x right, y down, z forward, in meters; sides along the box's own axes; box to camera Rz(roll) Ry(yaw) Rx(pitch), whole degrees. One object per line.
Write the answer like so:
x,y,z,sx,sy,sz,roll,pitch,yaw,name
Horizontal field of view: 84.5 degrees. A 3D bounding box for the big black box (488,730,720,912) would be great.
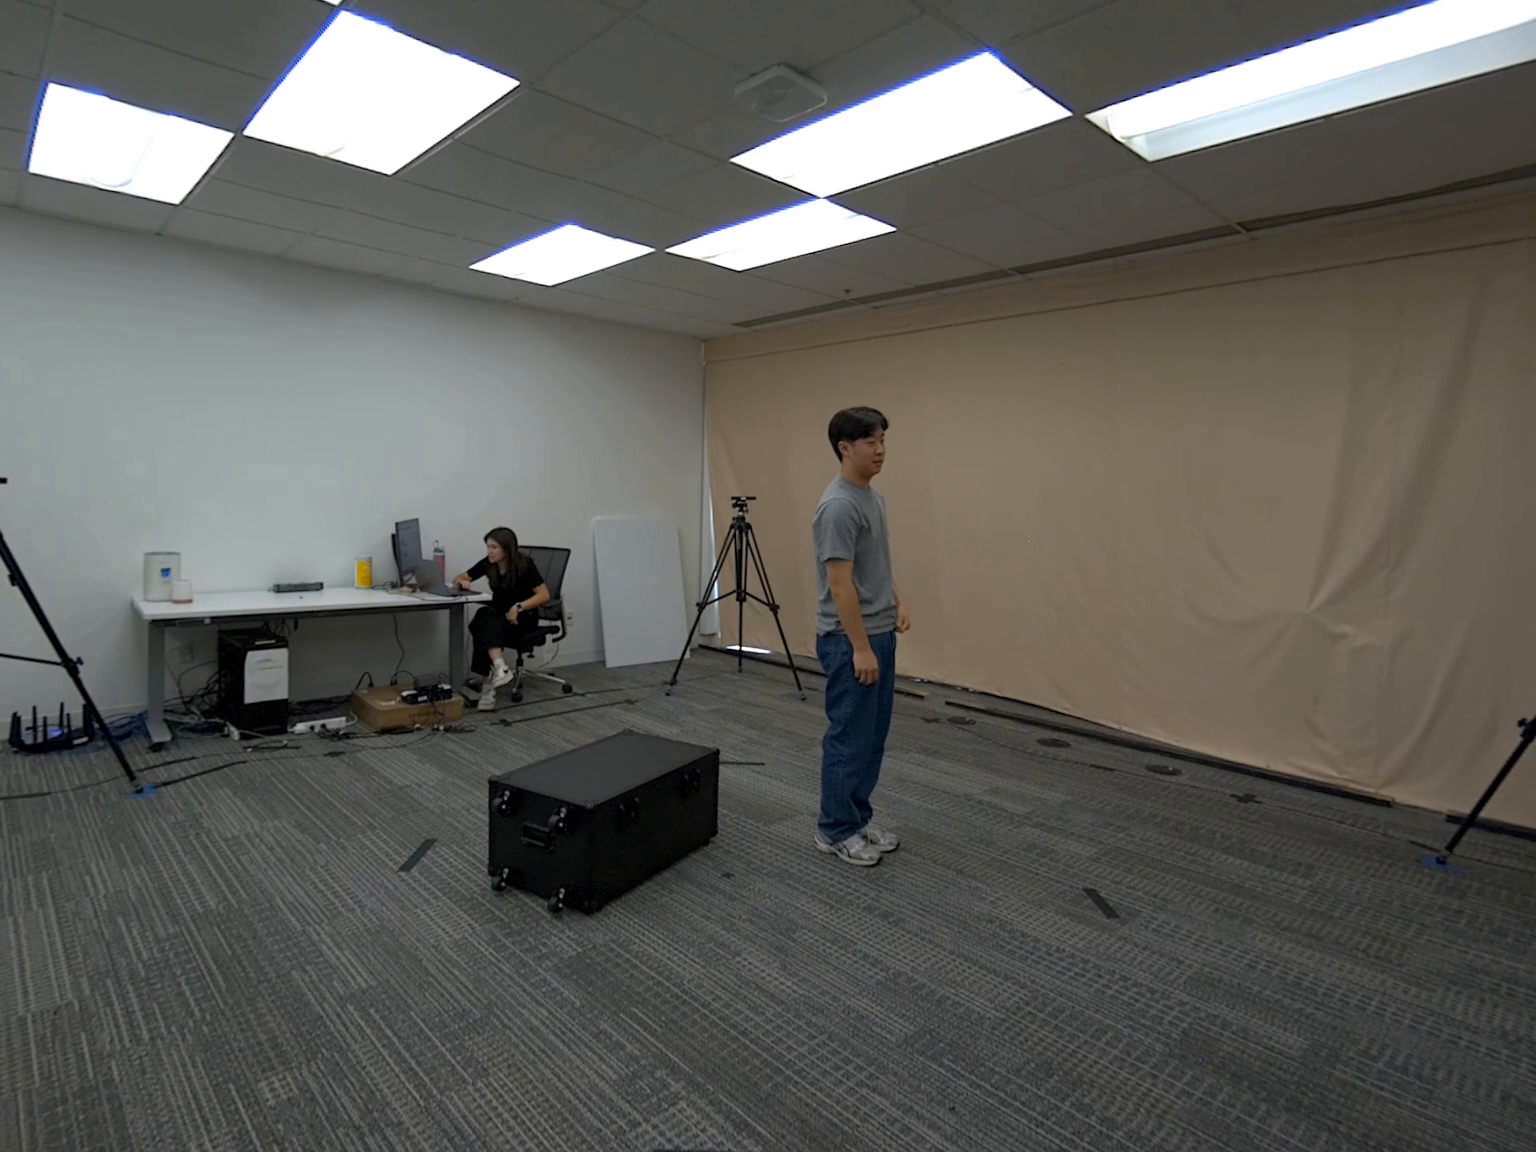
-0.624,0.898,3.175,0.533,0.395,0.845,5,6,30,big black box
